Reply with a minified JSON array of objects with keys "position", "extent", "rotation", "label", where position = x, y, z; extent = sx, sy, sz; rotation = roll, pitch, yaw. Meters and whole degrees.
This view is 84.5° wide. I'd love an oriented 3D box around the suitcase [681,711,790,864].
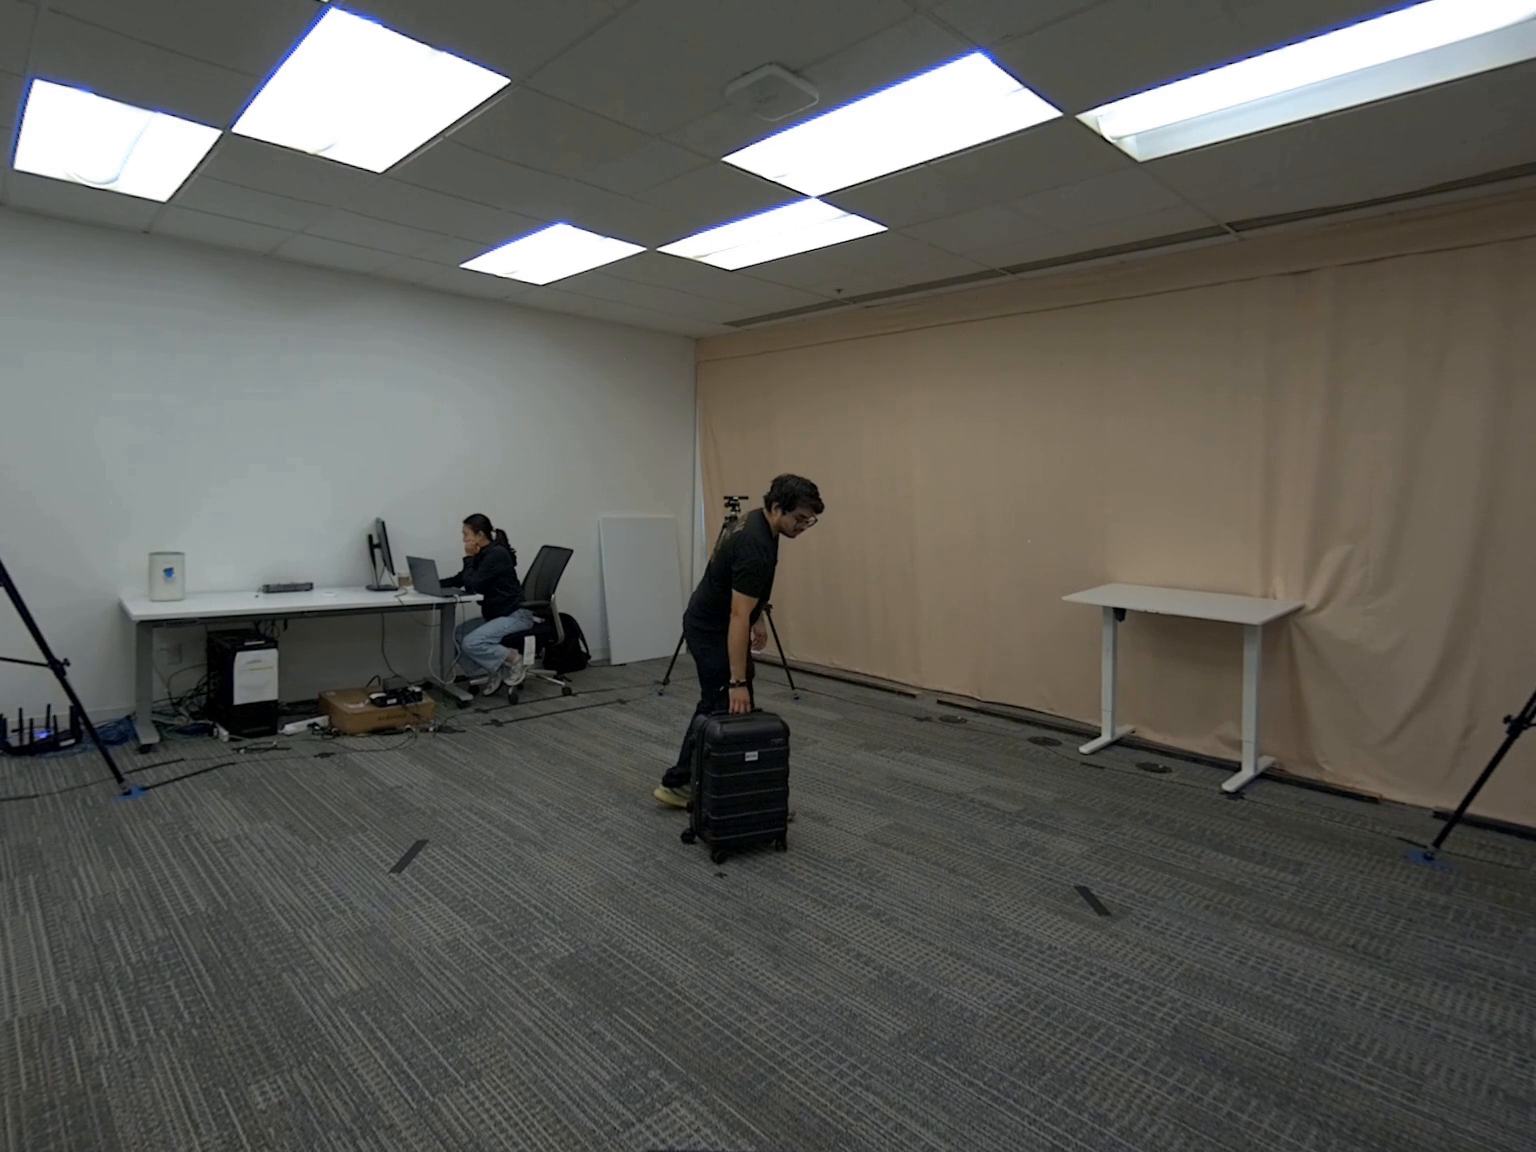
[{"position":[-0.122,0.809,3.334],"extent":[0.368,0.547,0.254],"rotation":[-1,6,-28],"label":"suitcase"}]
